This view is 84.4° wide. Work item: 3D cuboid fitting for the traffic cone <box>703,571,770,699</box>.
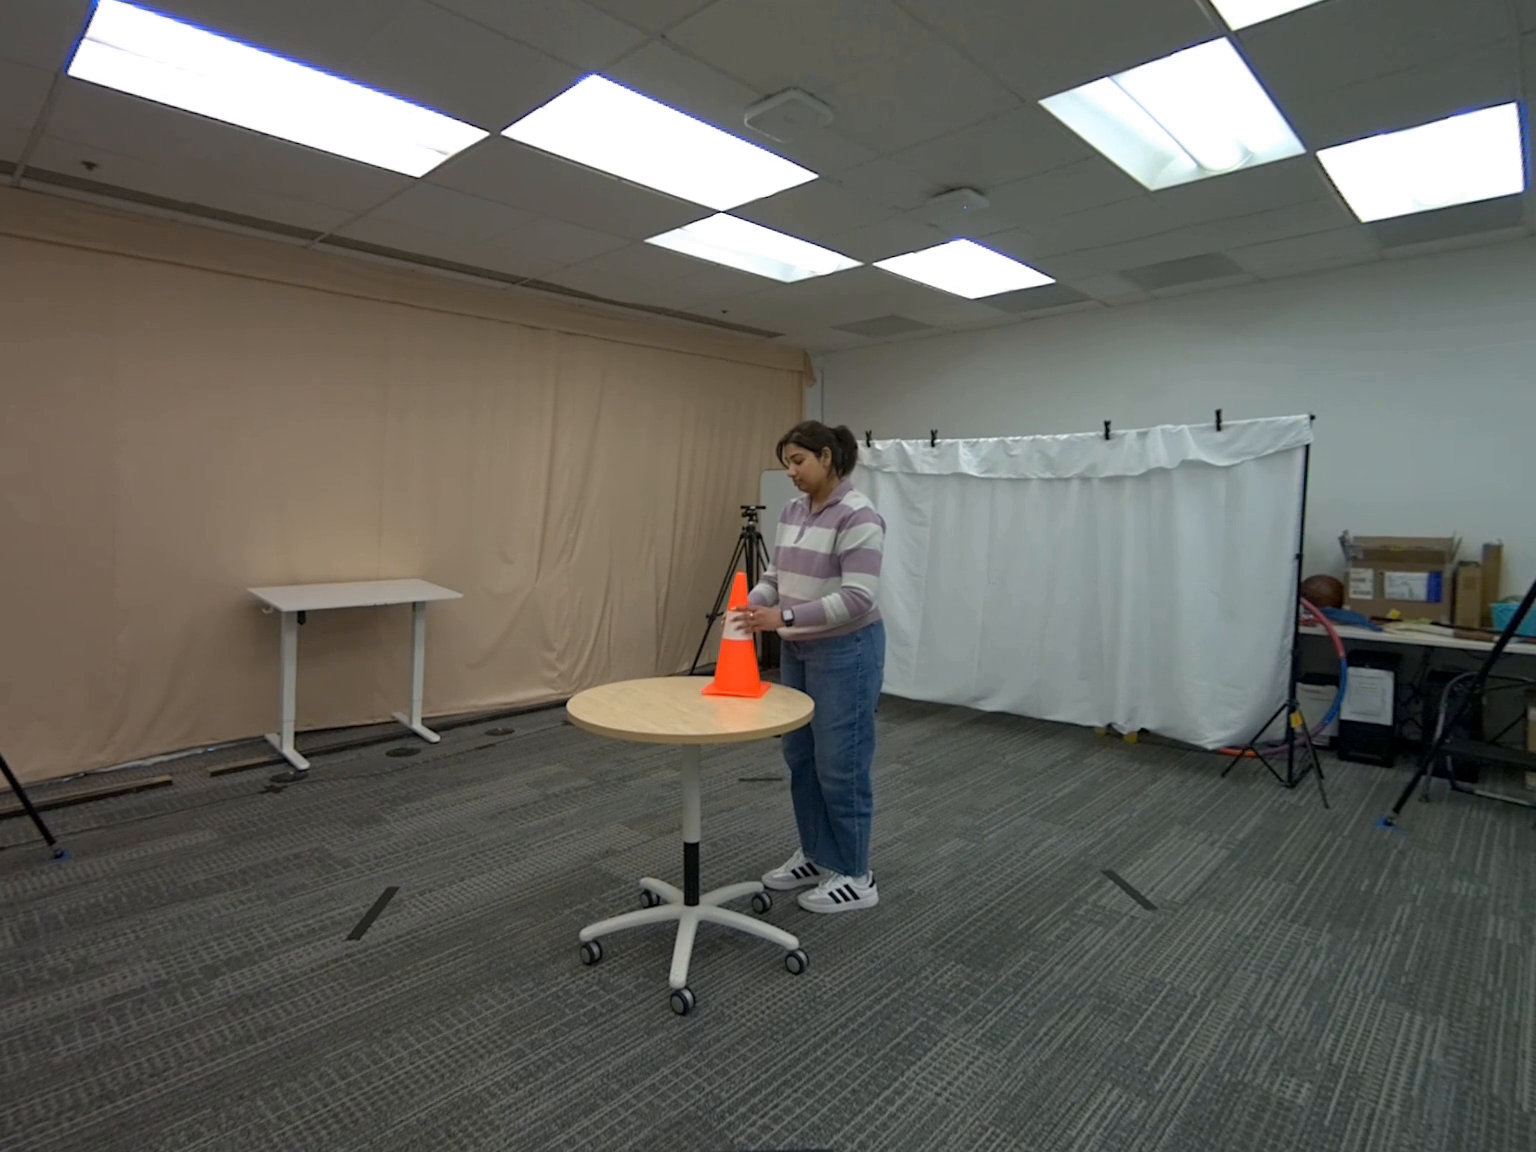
[{"bbox_3d":[-0.088,0.184,2.770,0.208,0.383,0.201,2,2,12],"label":"traffic cone"}]
